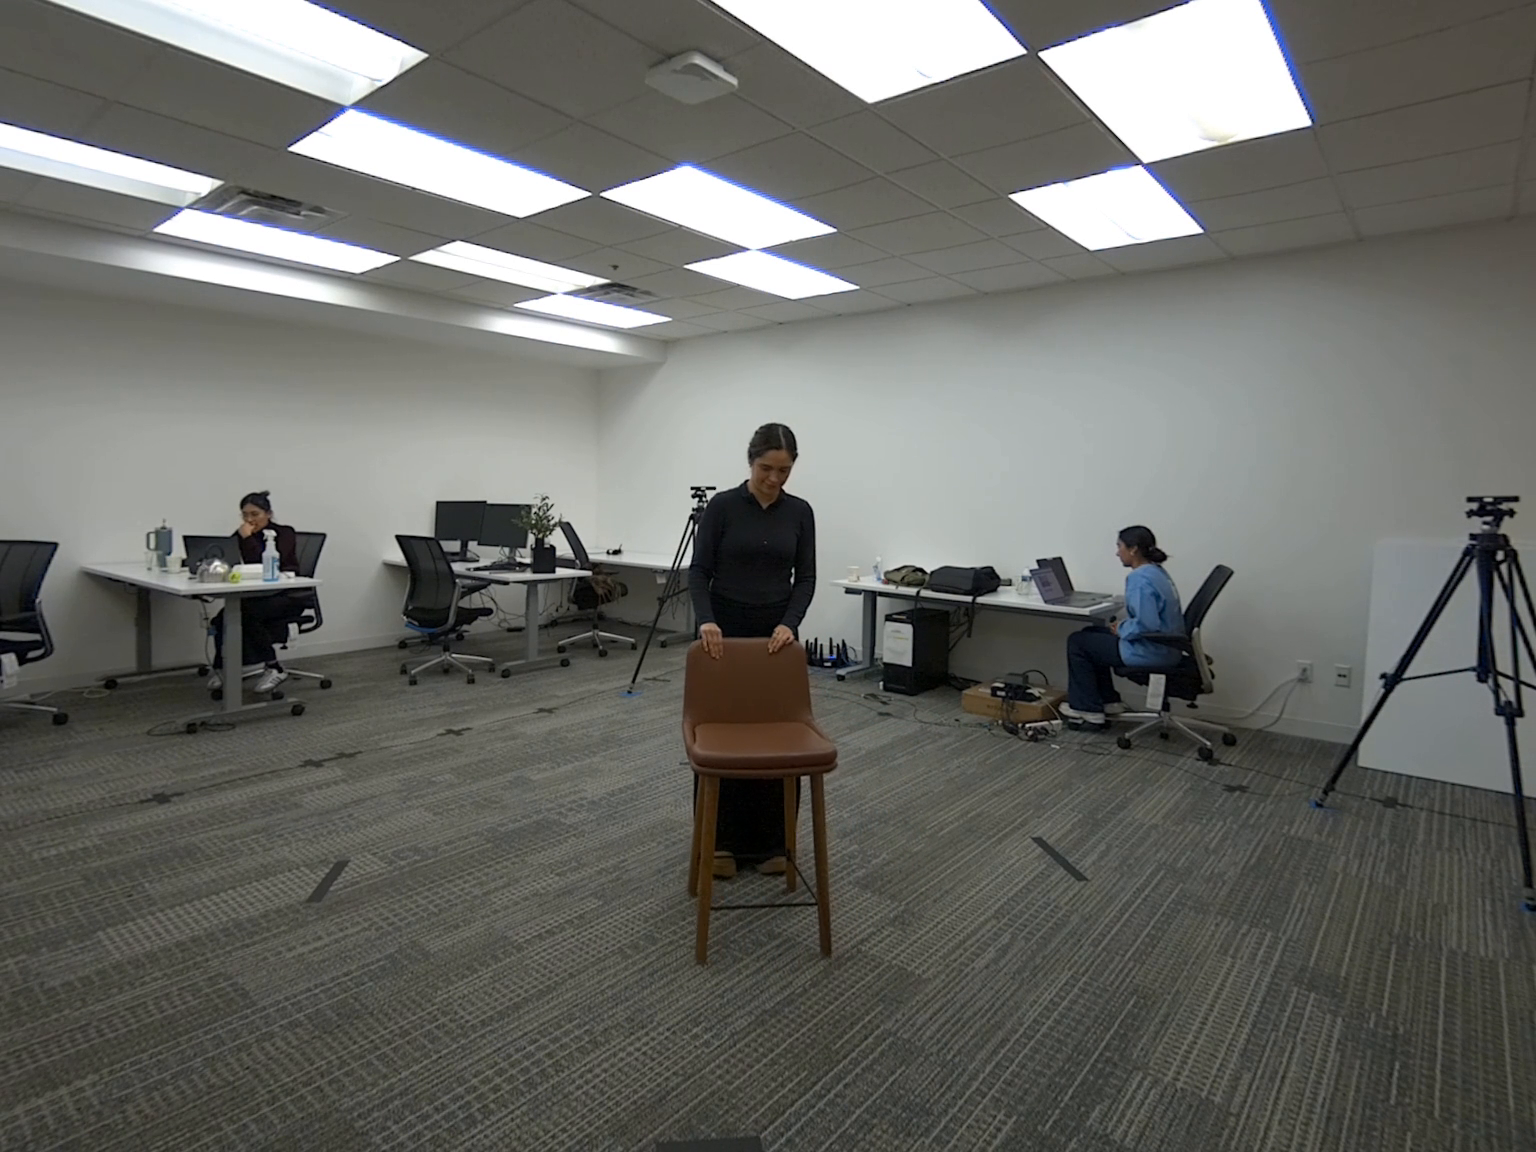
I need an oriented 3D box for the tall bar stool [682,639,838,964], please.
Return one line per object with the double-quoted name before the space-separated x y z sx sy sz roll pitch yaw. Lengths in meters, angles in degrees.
"tall bar stool" -0.045 0.668 2.708 0.452 0.889 0.472 0 1 -9
